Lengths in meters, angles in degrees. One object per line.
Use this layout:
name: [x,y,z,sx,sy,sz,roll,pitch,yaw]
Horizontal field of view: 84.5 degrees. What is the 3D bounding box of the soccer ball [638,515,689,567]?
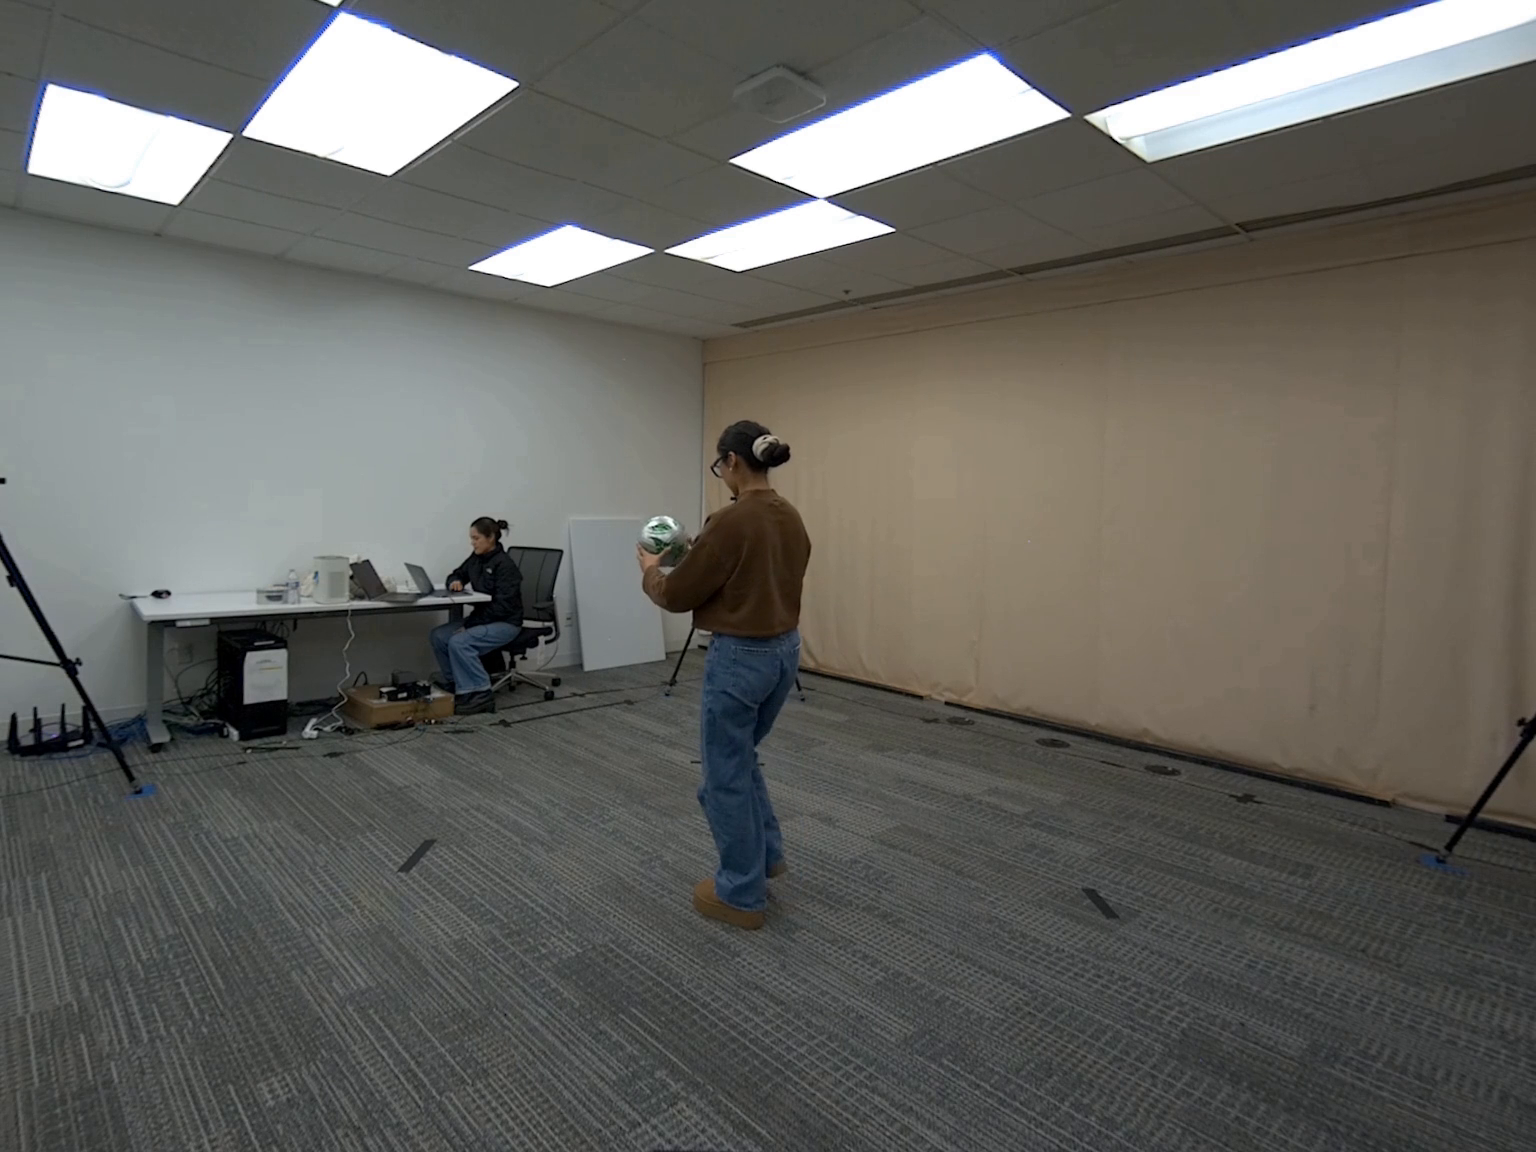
soccer ball: [-0.381,-0.125,3.033,0.187,0.187,0.188,1,4,-1]
